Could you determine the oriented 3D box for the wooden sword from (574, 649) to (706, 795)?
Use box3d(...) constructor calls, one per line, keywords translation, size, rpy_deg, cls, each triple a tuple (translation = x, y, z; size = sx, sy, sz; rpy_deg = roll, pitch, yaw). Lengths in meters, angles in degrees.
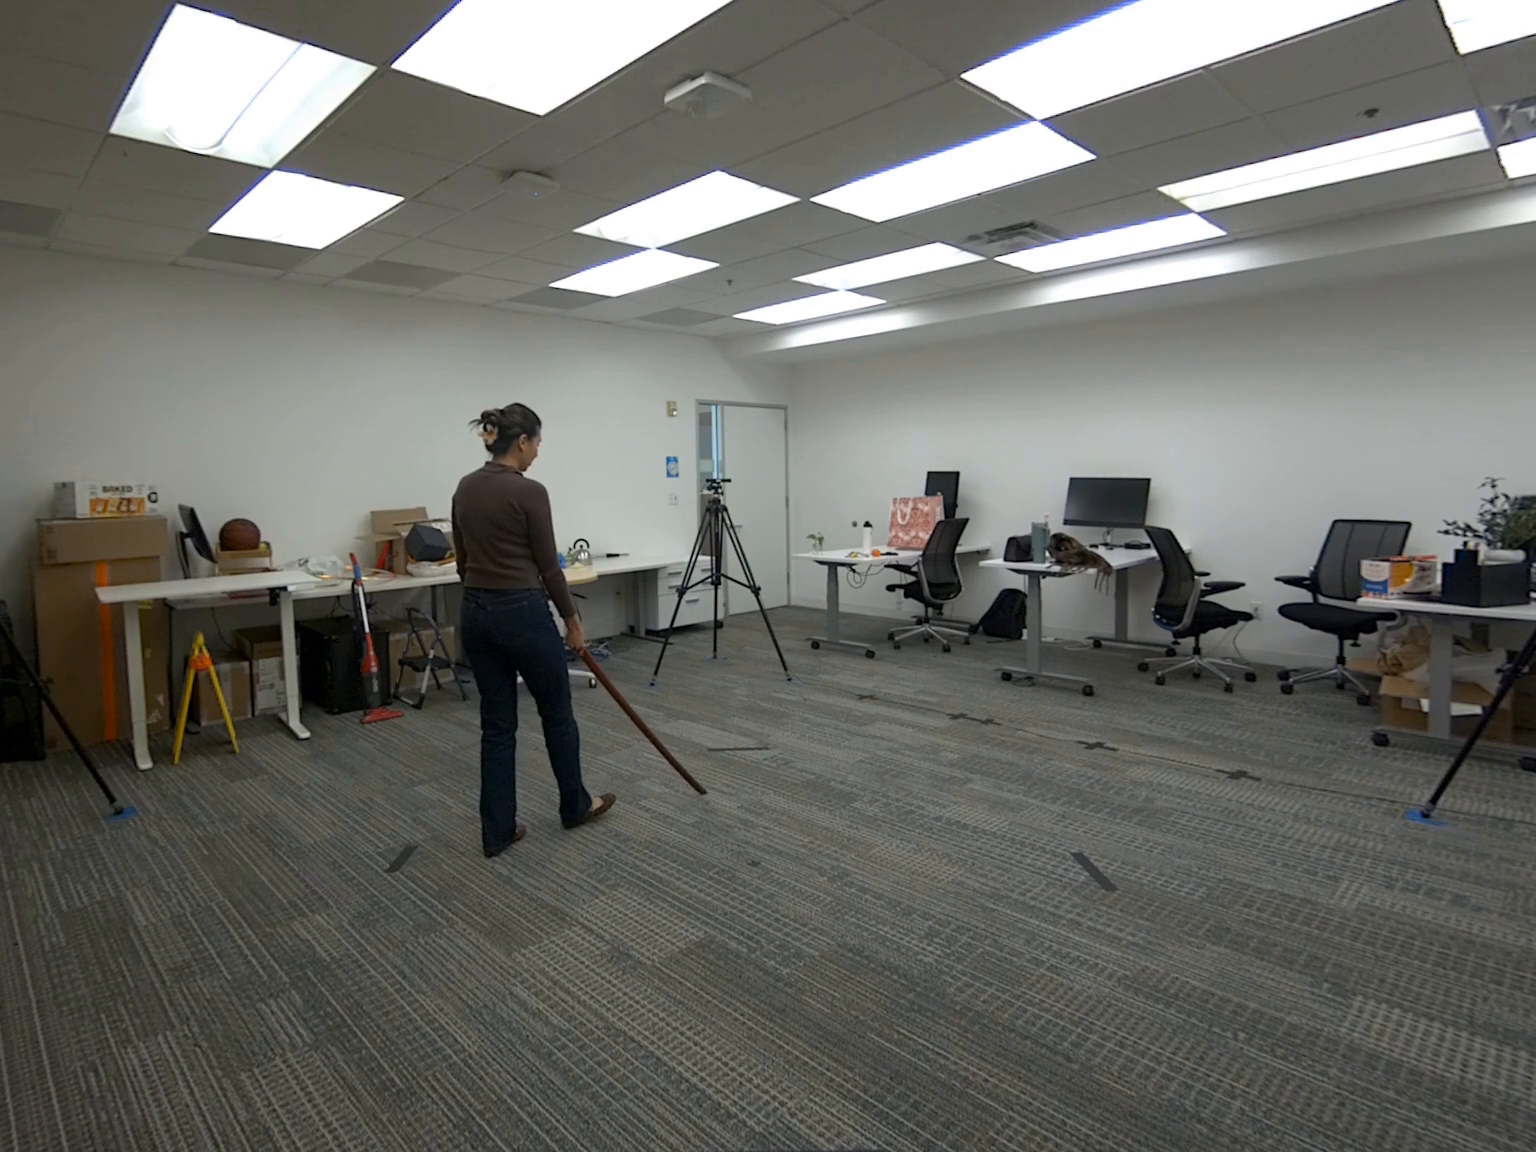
box3d(translation=(-0.532, 0.624, 3.609), size=(0.052, 0.993, 0.024), rpy_deg=(-24, 30, 23), cls="wooden sword")
